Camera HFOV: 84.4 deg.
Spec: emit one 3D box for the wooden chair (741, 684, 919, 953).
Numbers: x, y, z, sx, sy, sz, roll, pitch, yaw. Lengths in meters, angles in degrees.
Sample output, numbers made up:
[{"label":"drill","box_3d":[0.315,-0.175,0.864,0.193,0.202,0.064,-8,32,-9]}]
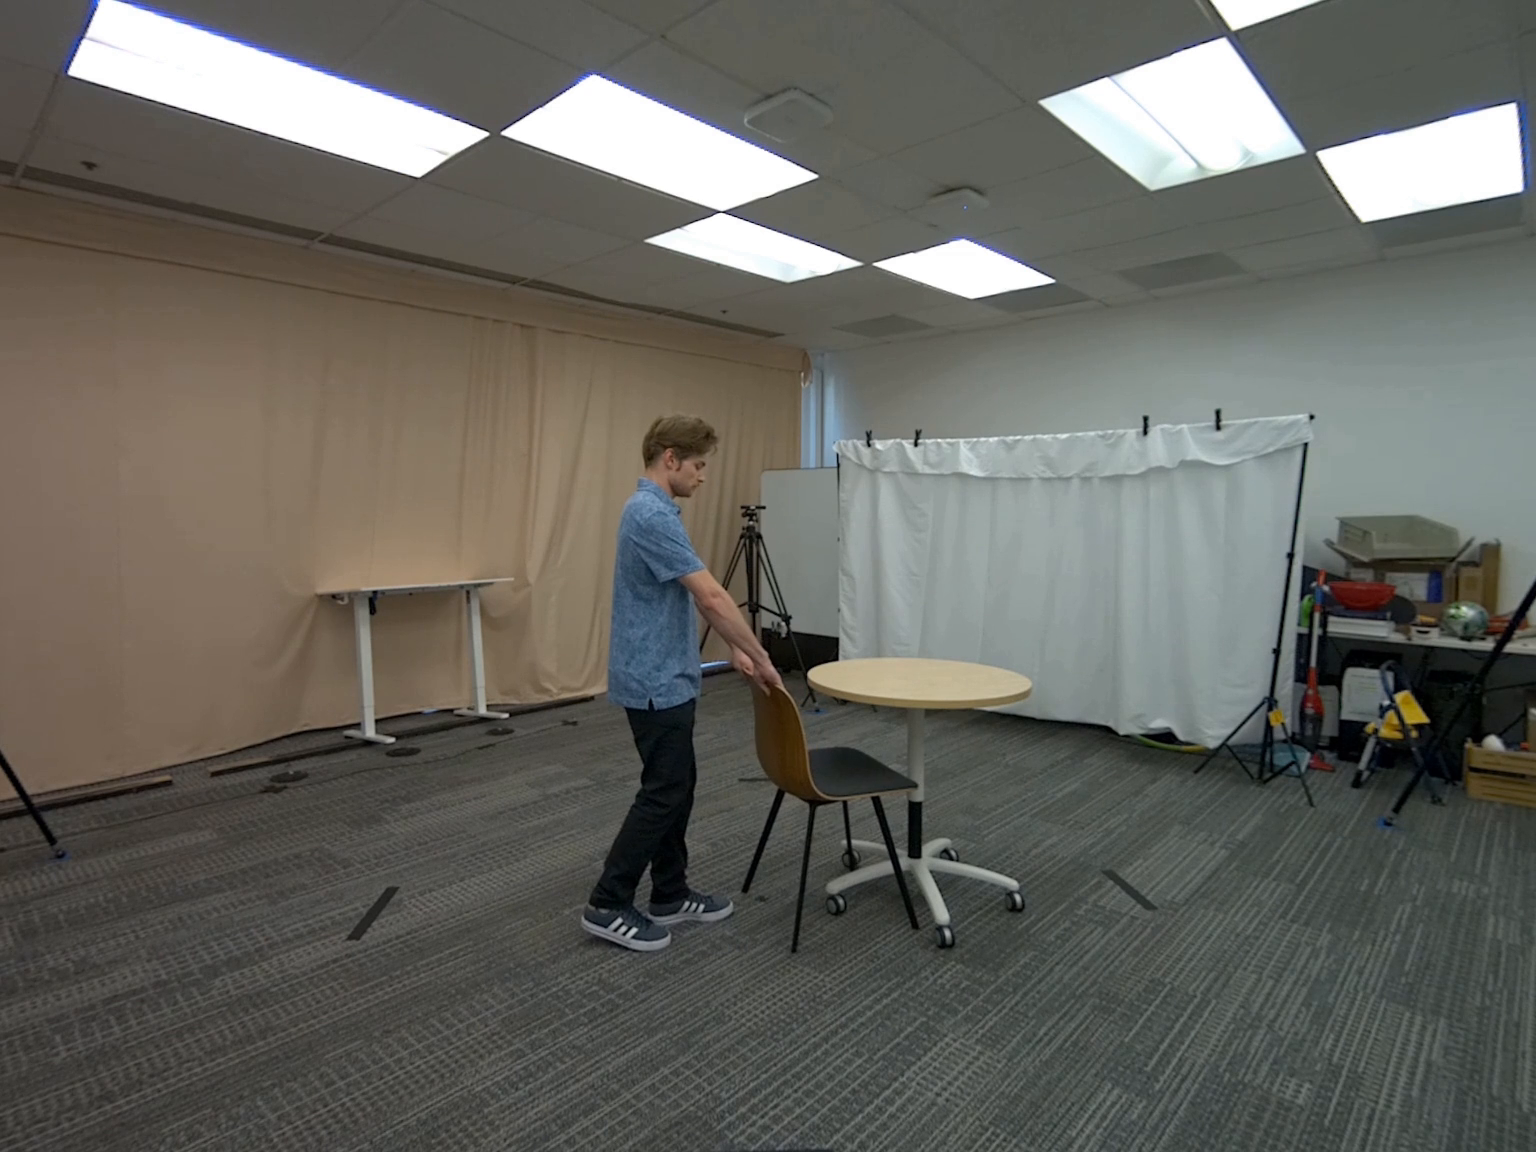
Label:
[{"label":"wooden chair","box_3d":[0.211,0.723,2.866,0.513,0.875,0.489,-6,5,-21]}]
